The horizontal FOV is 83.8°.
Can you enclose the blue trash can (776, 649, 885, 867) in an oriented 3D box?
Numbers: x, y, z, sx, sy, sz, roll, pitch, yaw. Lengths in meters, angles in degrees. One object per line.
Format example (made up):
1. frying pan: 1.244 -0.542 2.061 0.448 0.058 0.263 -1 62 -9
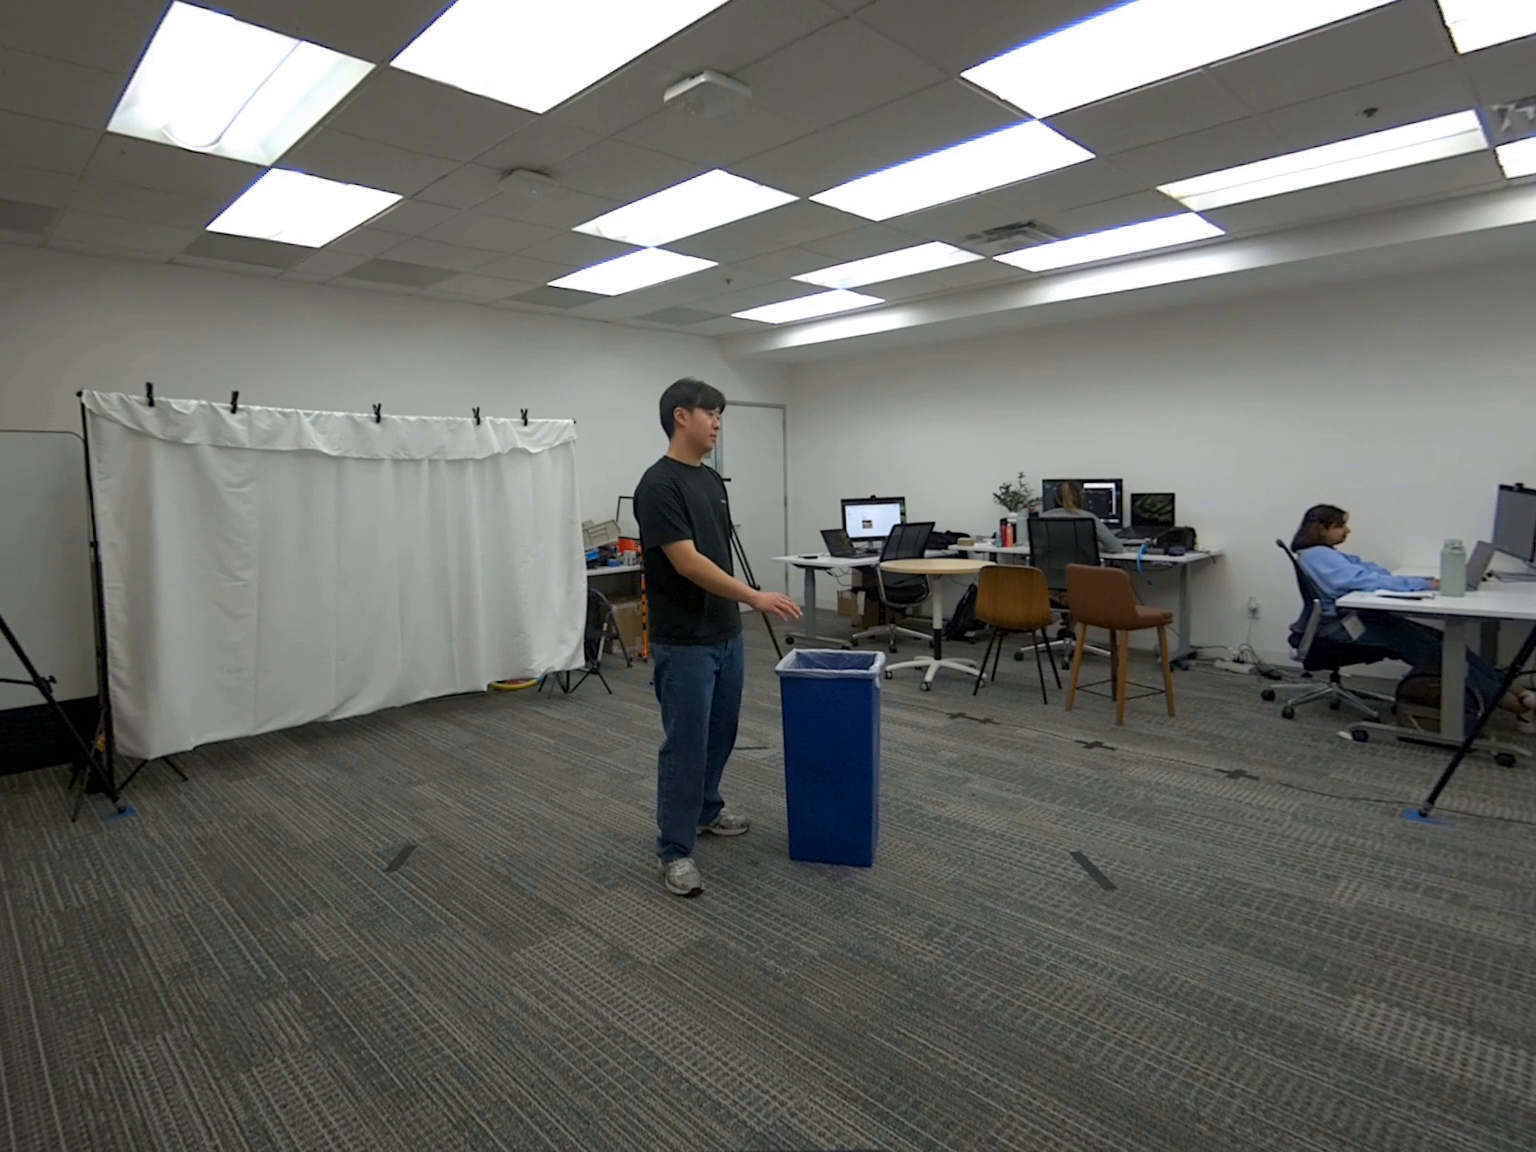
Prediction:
1. blue trash can: 0.253 0.666 3.212 0.379 0.711 0.374 -1 4 13
